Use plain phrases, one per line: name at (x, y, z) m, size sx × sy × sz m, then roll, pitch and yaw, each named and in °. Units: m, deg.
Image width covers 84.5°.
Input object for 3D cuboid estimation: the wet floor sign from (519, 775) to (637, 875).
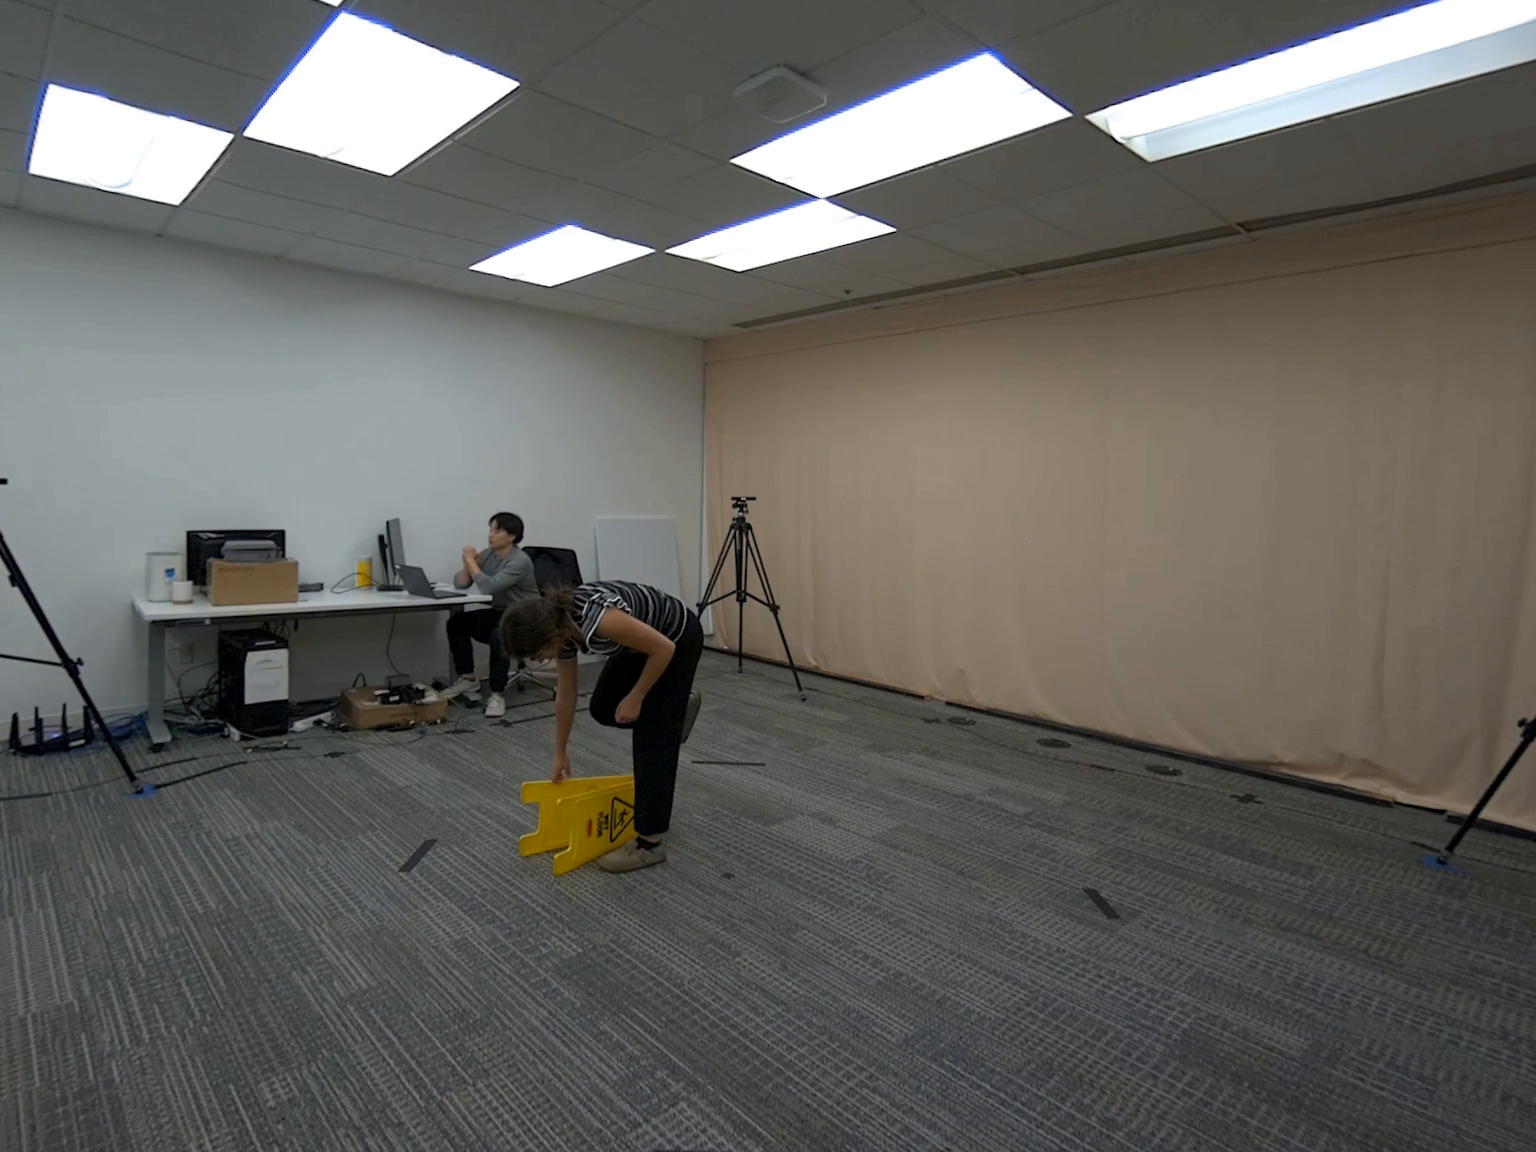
wet floor sign at (-0.655, 0.948, 3.377) m, size 0.297 × 0.282 × 0.630 m, roll 3°, pitch 2°, yaw 42°
